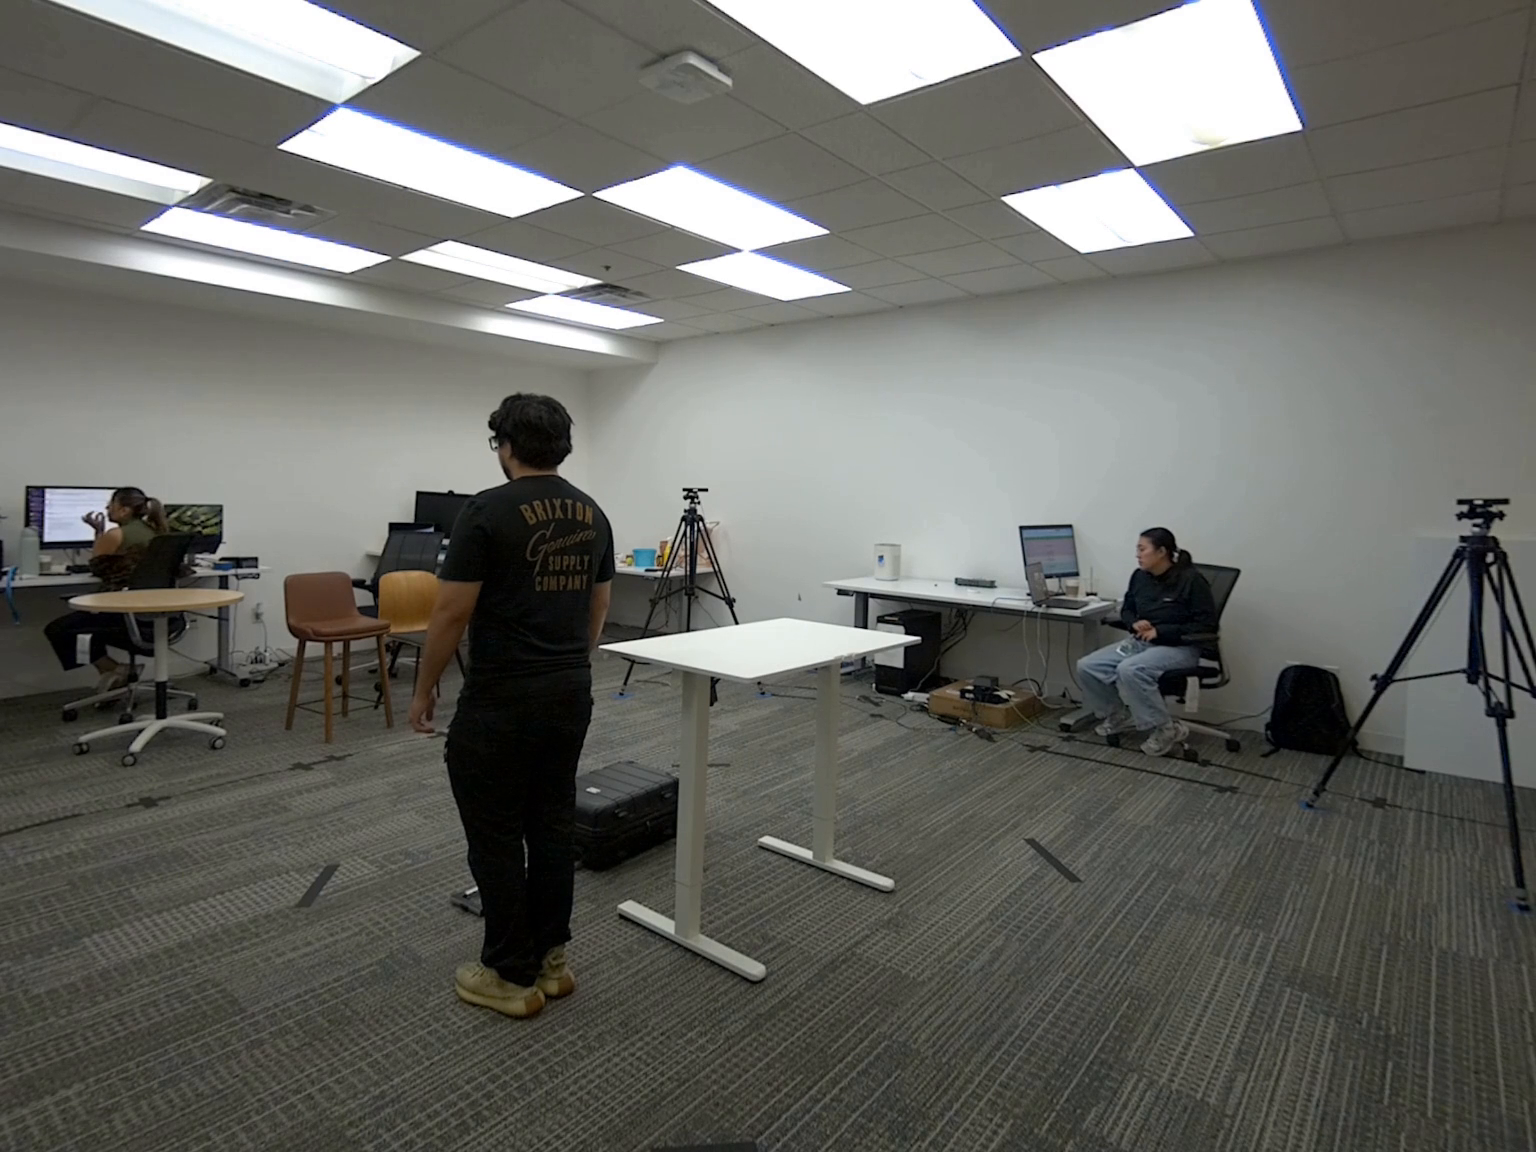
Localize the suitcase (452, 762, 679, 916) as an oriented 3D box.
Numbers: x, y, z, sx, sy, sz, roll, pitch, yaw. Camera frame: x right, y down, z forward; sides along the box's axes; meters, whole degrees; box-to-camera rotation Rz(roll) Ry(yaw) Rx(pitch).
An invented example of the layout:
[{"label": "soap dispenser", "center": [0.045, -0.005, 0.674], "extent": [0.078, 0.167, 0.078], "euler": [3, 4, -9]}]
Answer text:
[{"label": "suitcase", "center": [-0.725, 0.931, 3.164], "extent": [0.396, 0.256, 0.950], "euler": [5, 6, 35]}]
